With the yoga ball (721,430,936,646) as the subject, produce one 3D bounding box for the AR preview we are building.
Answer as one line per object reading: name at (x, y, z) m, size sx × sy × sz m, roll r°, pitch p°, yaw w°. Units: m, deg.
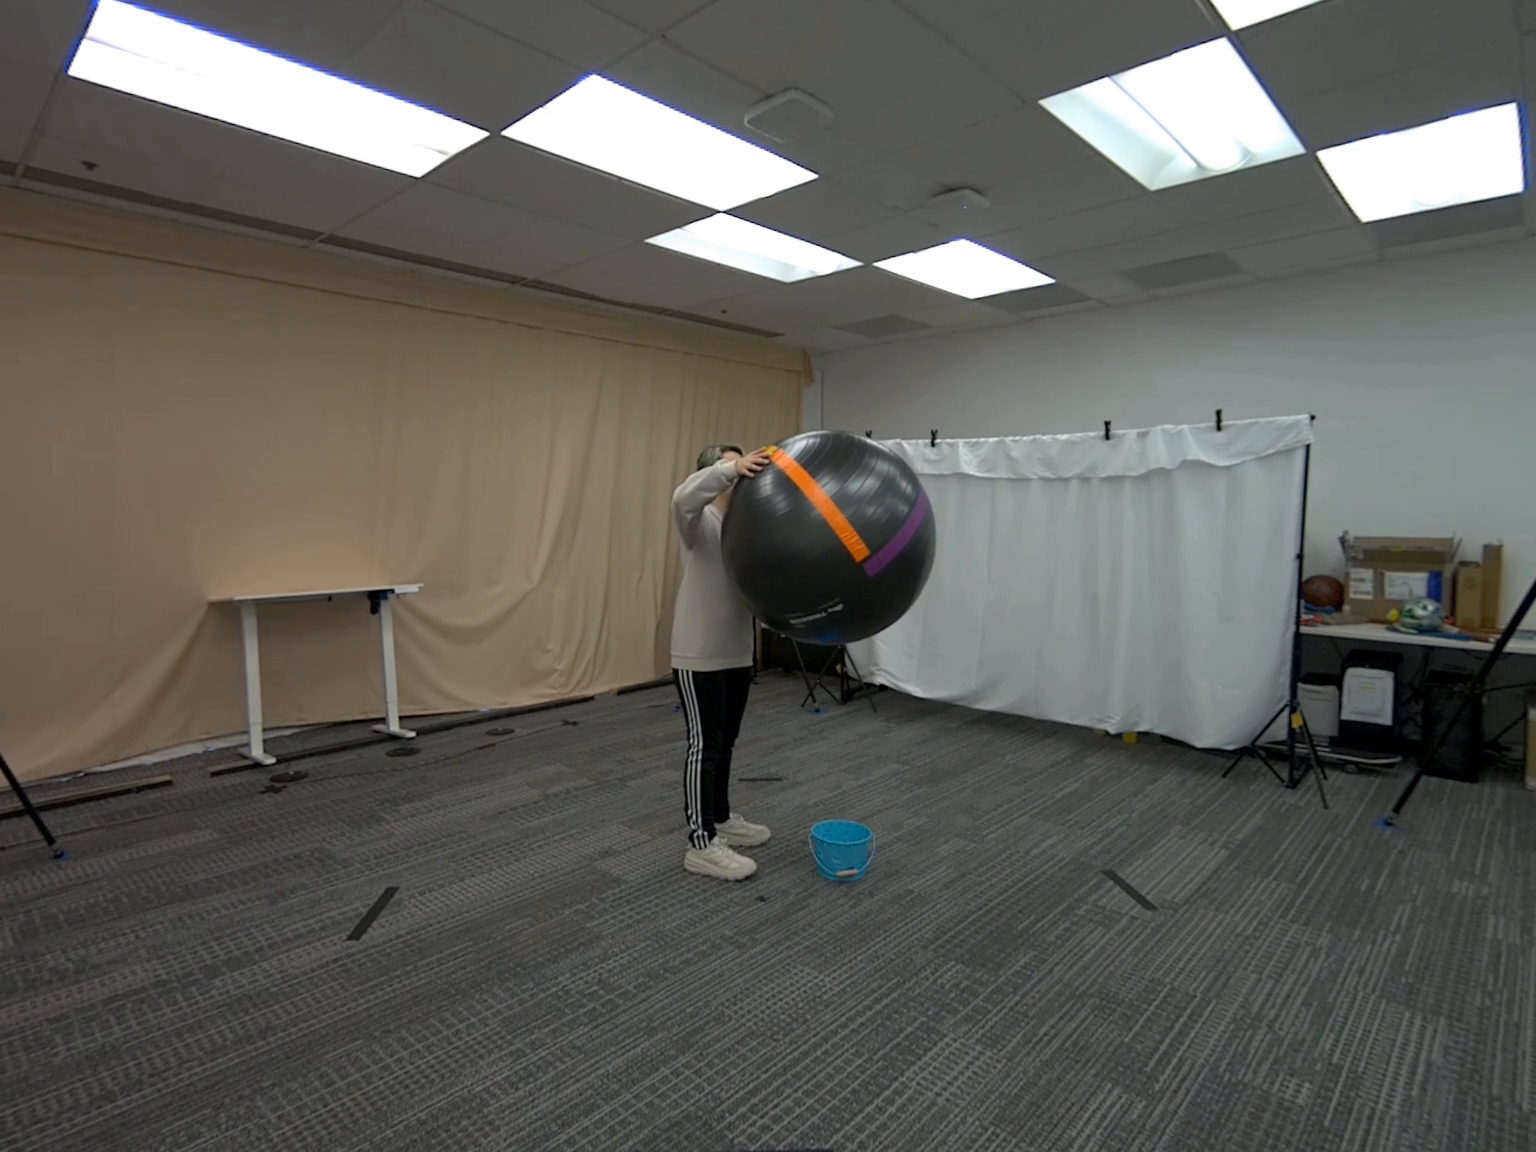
yoga ball at (0.223, -0.129, 2.987) m, size 0.757 × 0.756 × 0.761 m, roll 0°, pitch 4°, yaw -2°
